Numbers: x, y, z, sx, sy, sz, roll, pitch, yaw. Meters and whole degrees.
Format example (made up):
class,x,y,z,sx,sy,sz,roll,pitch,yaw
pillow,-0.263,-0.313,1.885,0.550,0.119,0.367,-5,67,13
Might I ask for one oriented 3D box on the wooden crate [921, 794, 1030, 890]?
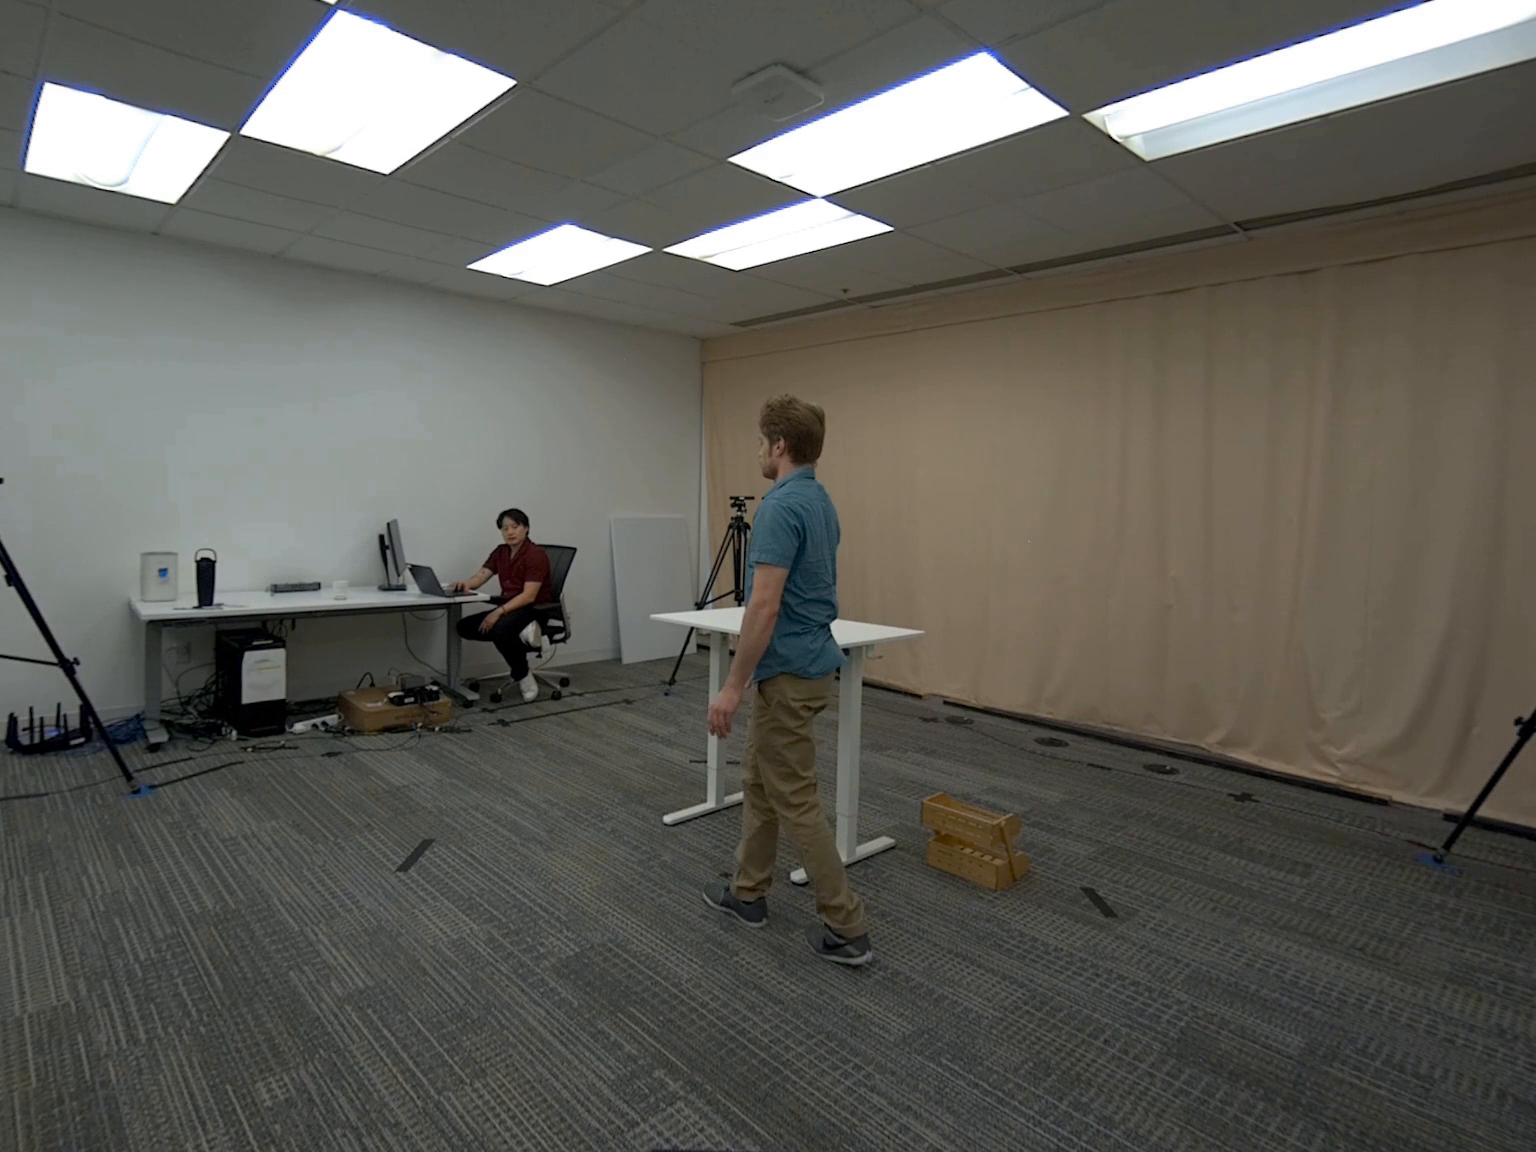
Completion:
class,x,y,z,sx,sy,sz,roll,pitch,yaw
wooden crate,0.784,0.984,3.206,0.333,0.272,0.295,5,7,44
